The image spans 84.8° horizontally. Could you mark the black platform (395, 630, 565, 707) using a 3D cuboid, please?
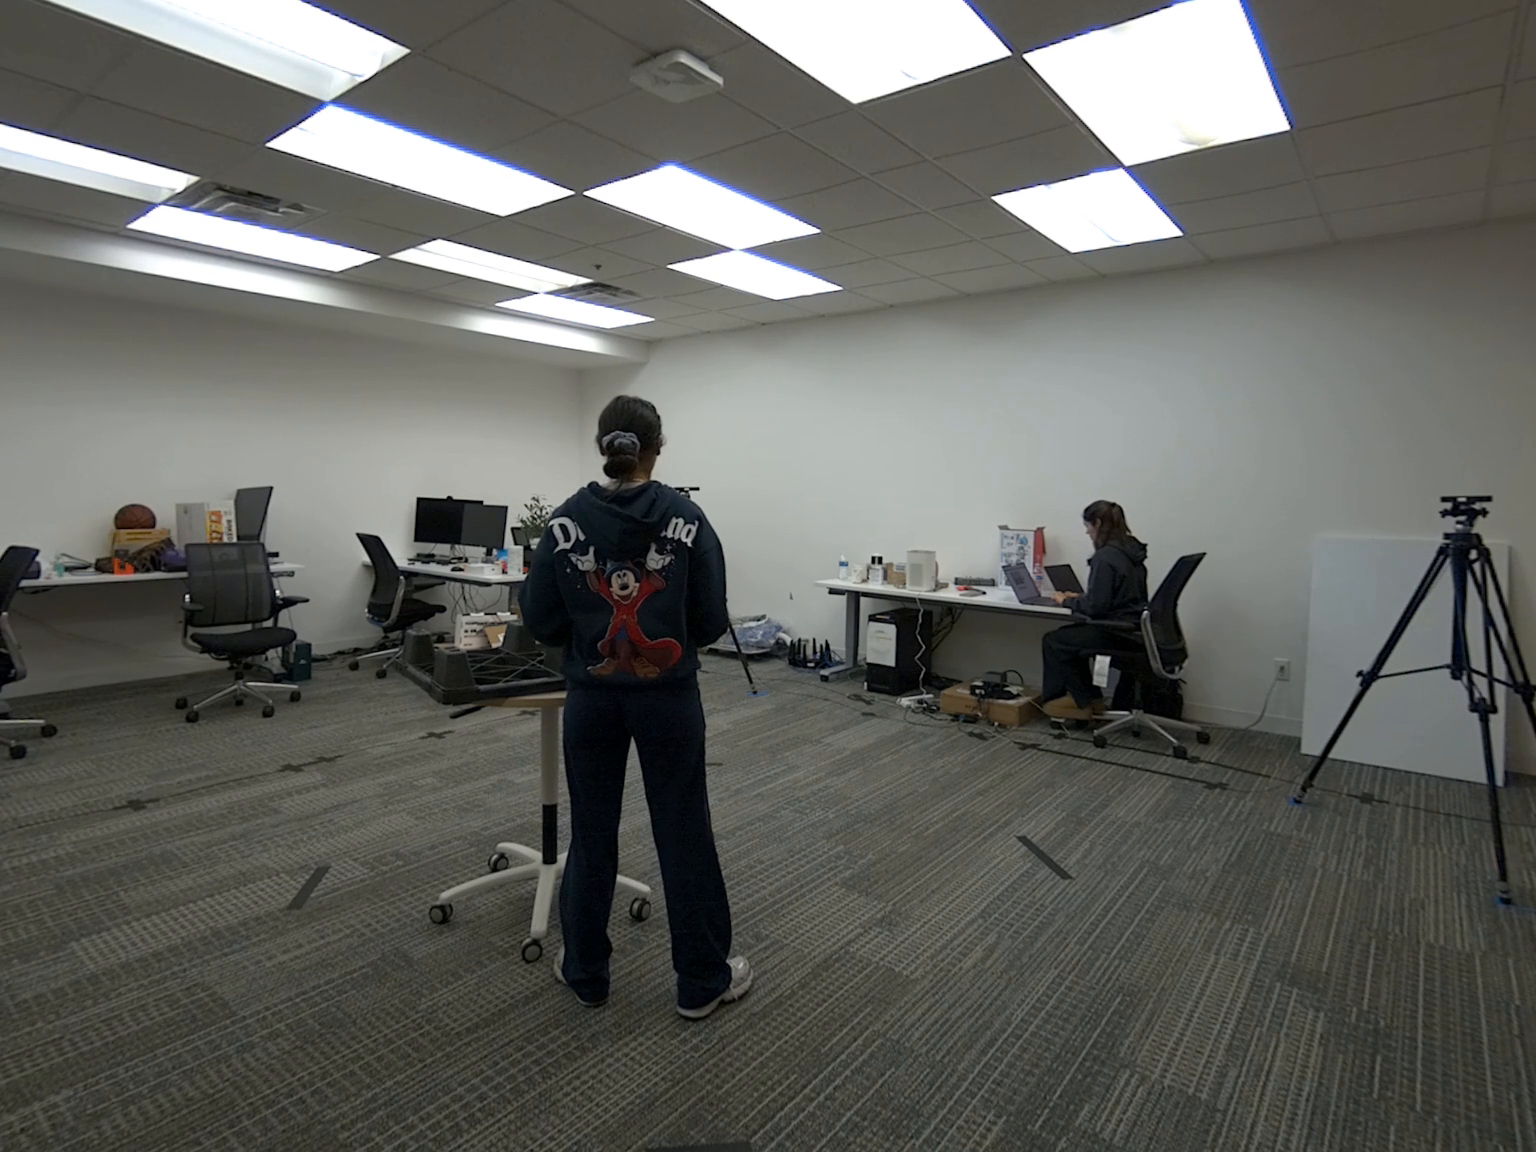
[{"bbox_3d":[-0.758,0.245,2.789,0.782,0.143,0.625,-3,7,-35],"label":"black platform"}]
